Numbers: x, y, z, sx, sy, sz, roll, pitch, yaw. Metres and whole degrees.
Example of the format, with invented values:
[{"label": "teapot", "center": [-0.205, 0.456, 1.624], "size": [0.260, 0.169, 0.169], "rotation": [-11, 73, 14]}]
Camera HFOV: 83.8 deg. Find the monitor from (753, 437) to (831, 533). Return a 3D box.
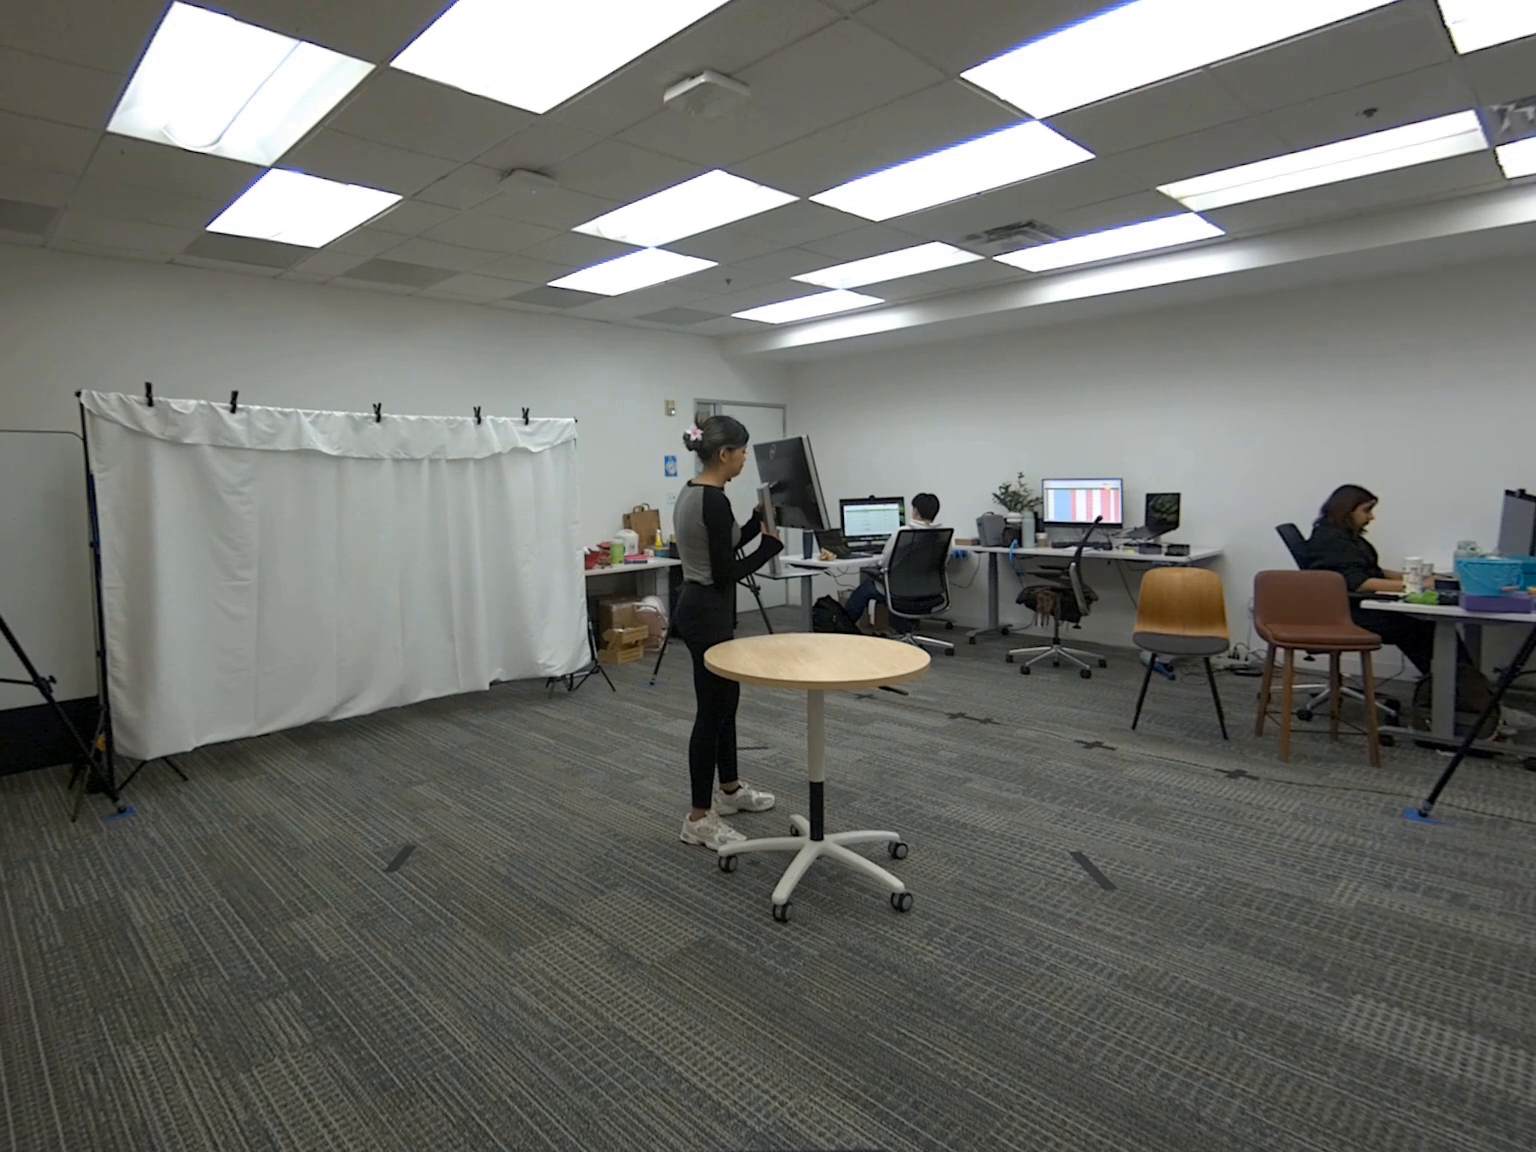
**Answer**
[{"label": "monitor", "center": [0.057, -0.270, 3.395], "size": [0.184, 0.521, 0.550], "rotation": [-4, 5, -21]}]
